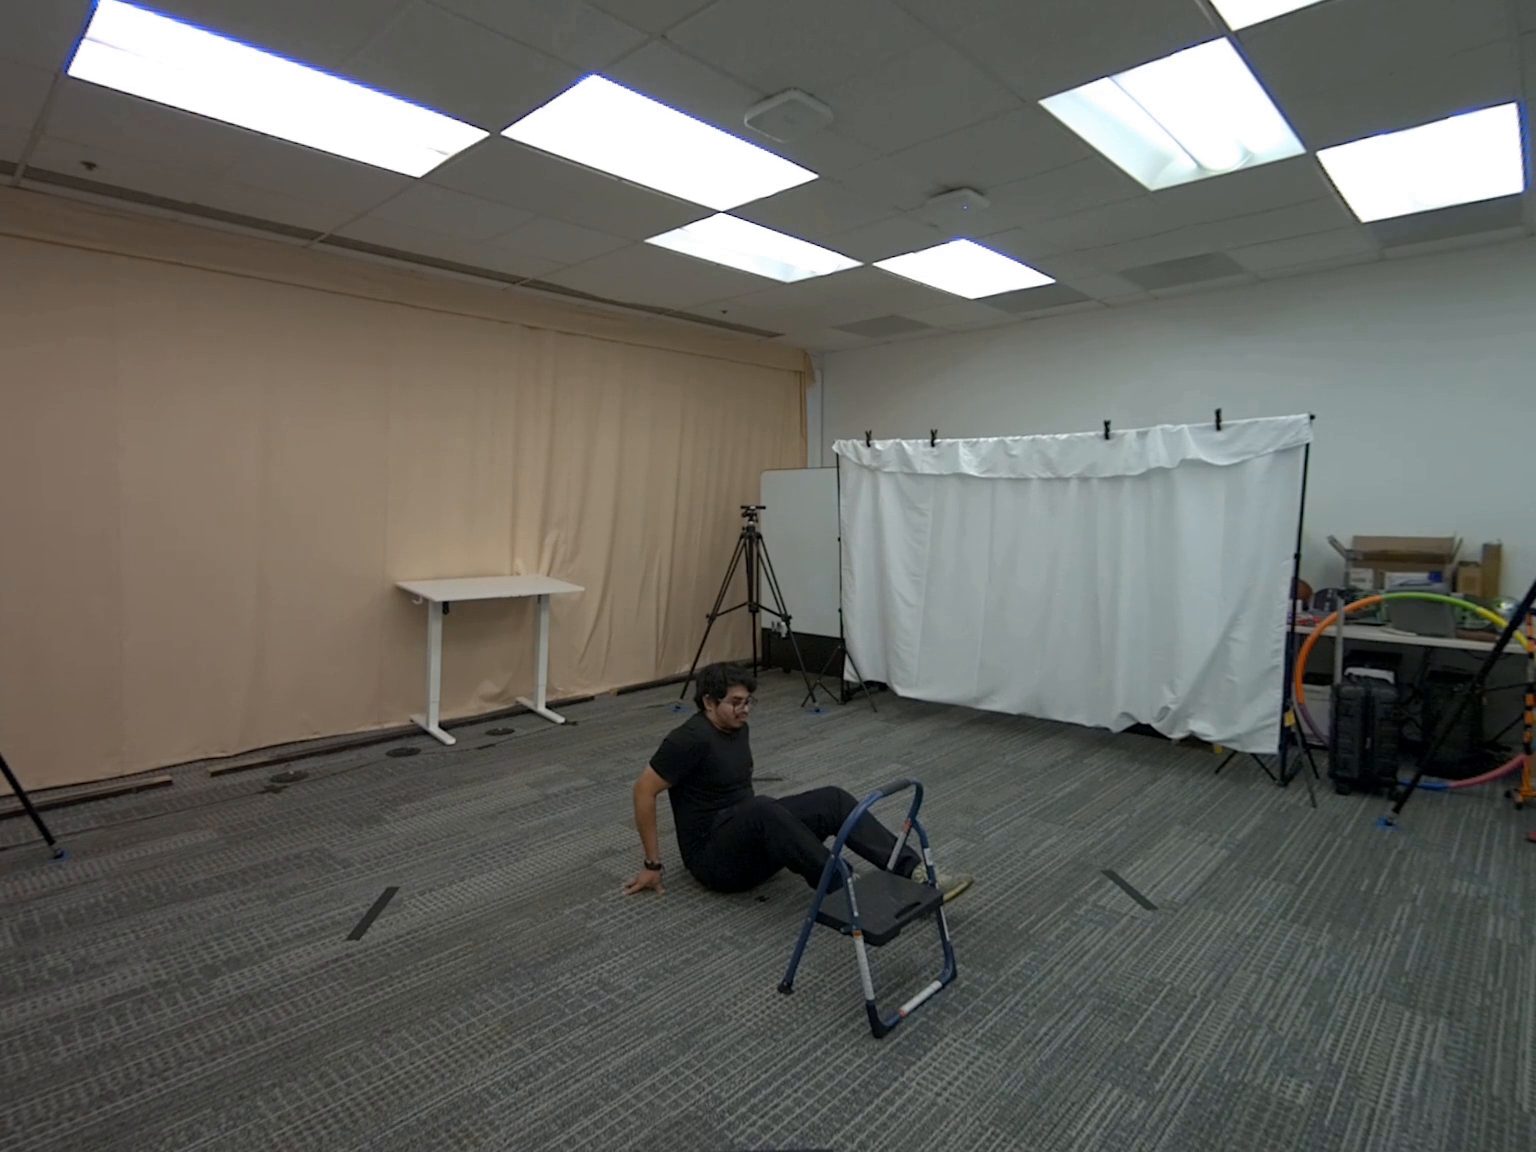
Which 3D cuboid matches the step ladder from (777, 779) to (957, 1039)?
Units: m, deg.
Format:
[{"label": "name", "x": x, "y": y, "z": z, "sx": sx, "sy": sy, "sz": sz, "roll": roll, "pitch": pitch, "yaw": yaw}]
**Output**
[{"label": "step ladder", "x": 0.300, "y": 0.886, "z": 2.435, "sx": 0.361, "sy": 0.605, "sz": 0.417, "roll": 3, "pitch": 5, "yaw": 42}]
